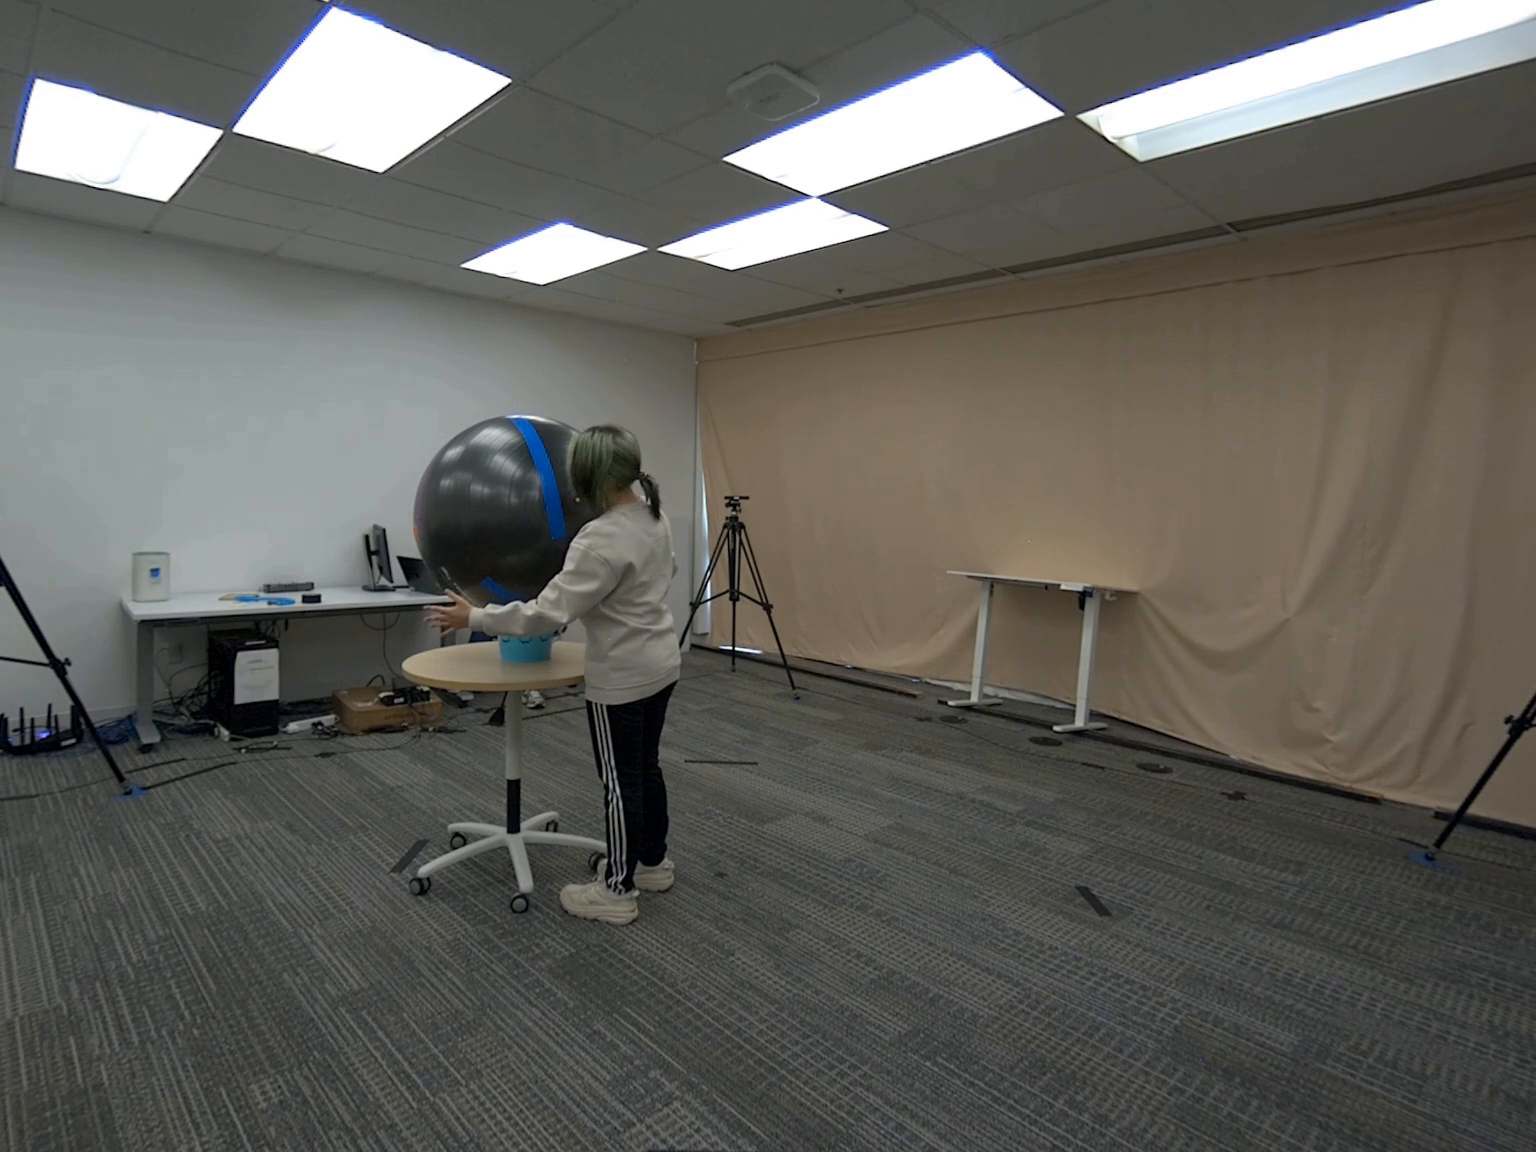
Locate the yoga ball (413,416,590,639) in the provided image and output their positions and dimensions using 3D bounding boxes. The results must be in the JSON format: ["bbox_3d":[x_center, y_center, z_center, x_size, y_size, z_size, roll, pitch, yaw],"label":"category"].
[{"bbox_3d":[-0.897,-0.206,3.083,0.757,0.756,0.761,1,4,-1],"label":"yoga ball"}]
